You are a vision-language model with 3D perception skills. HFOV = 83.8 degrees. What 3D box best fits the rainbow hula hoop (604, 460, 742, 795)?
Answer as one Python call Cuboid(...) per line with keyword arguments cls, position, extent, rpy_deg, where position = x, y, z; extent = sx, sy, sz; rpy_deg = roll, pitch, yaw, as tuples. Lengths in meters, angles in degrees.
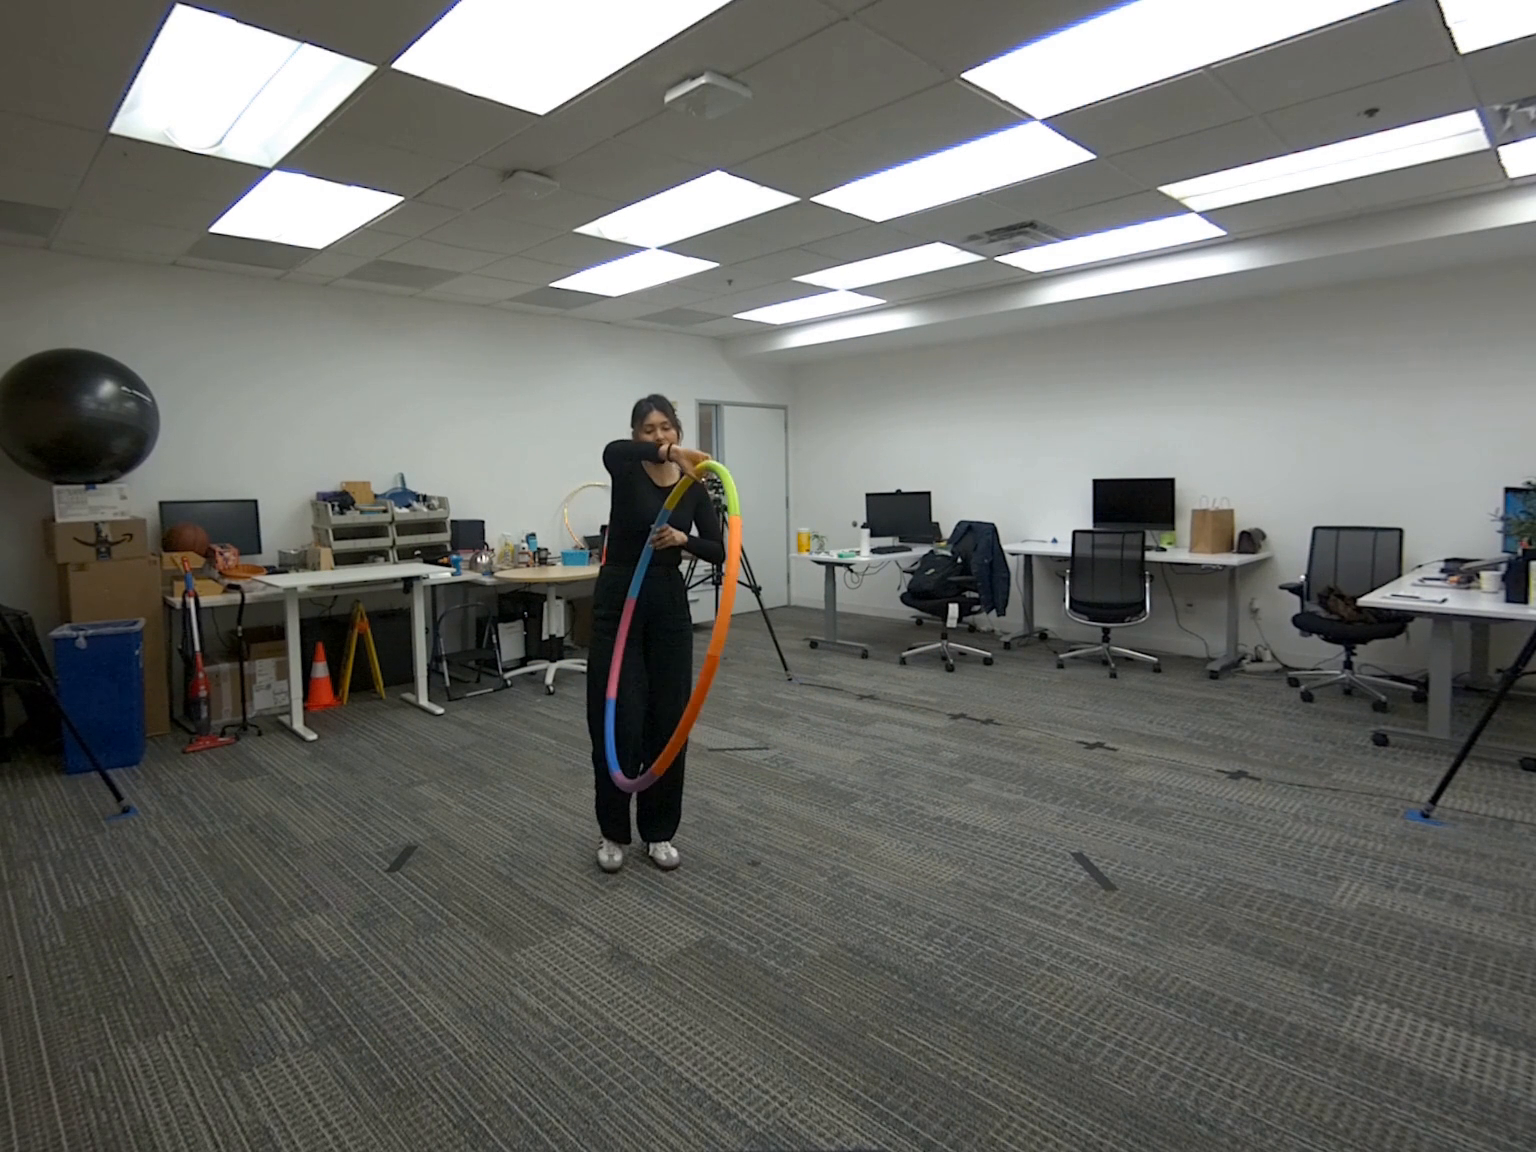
Cuboid(cls="rainbow hula hoop", position=(-0.300, 0.134, 2.543), extent=(0.050, 0.986, 1.007), rpy_deg=(16, -1, -22))
